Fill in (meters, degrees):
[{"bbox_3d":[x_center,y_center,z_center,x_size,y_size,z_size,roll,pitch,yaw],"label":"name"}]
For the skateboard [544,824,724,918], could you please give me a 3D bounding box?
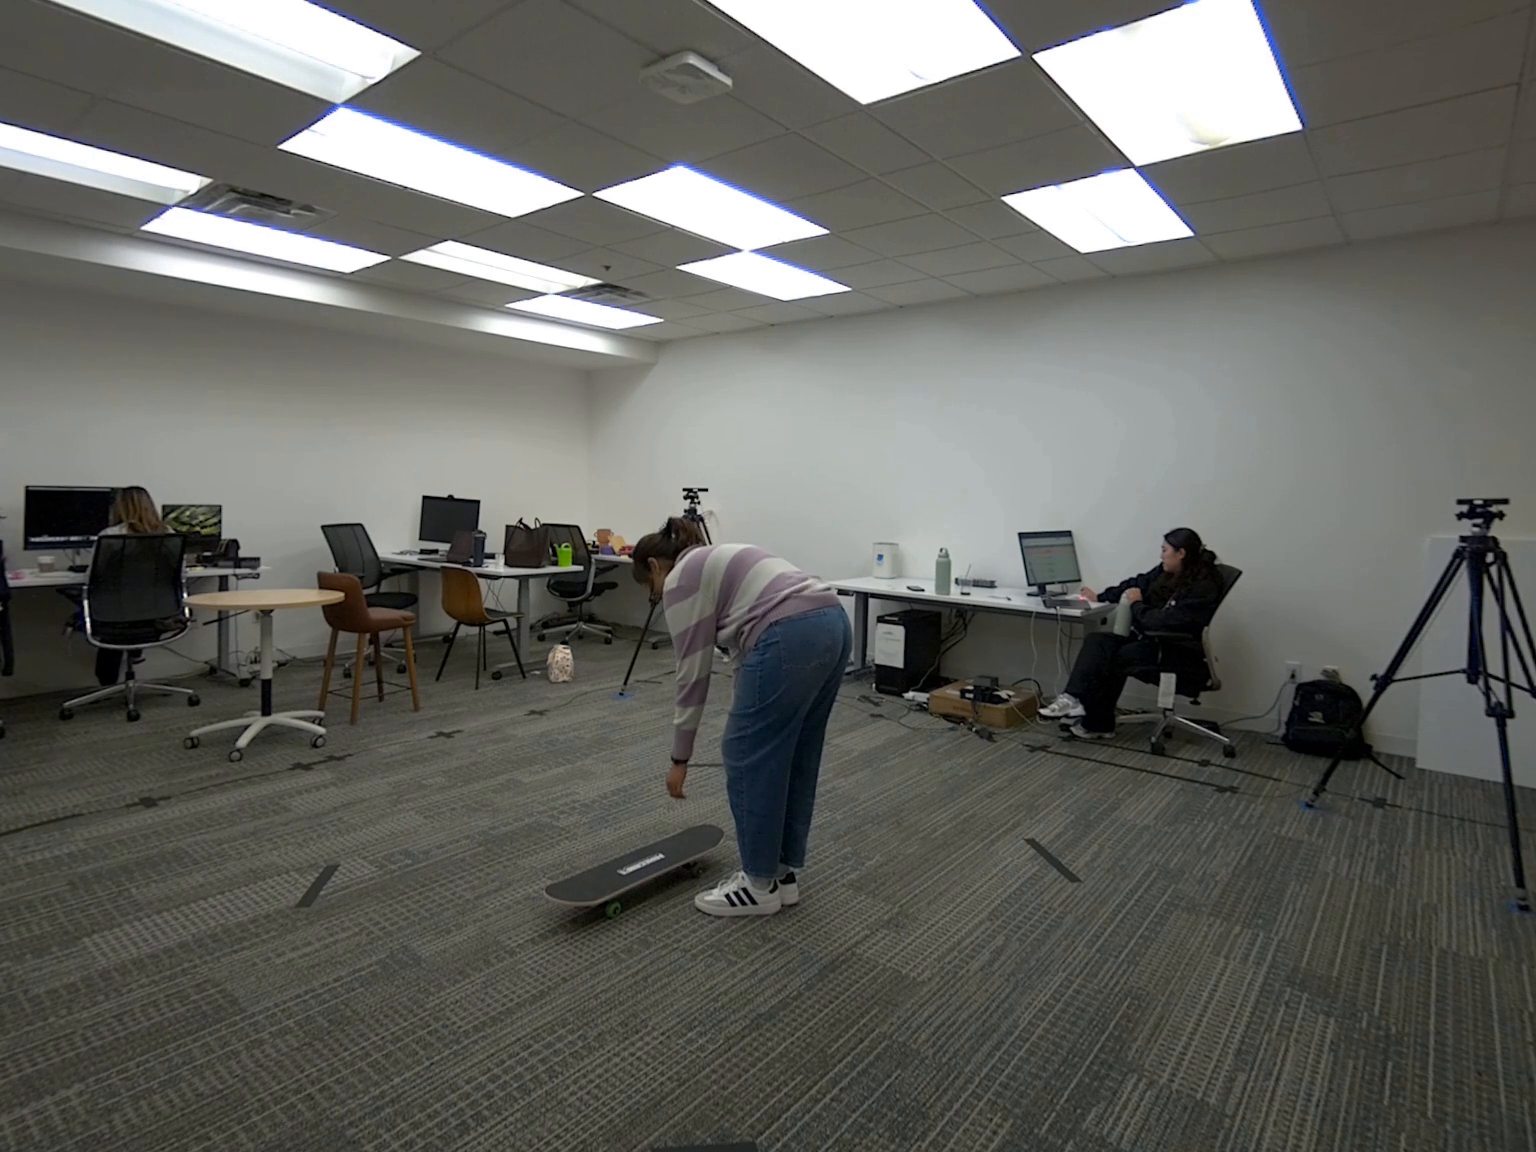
[{"bbox_3d":[-0.445,1.024,2.942,0.200,0.110,0.762,5,7,39],"label":"skateboard"}]
